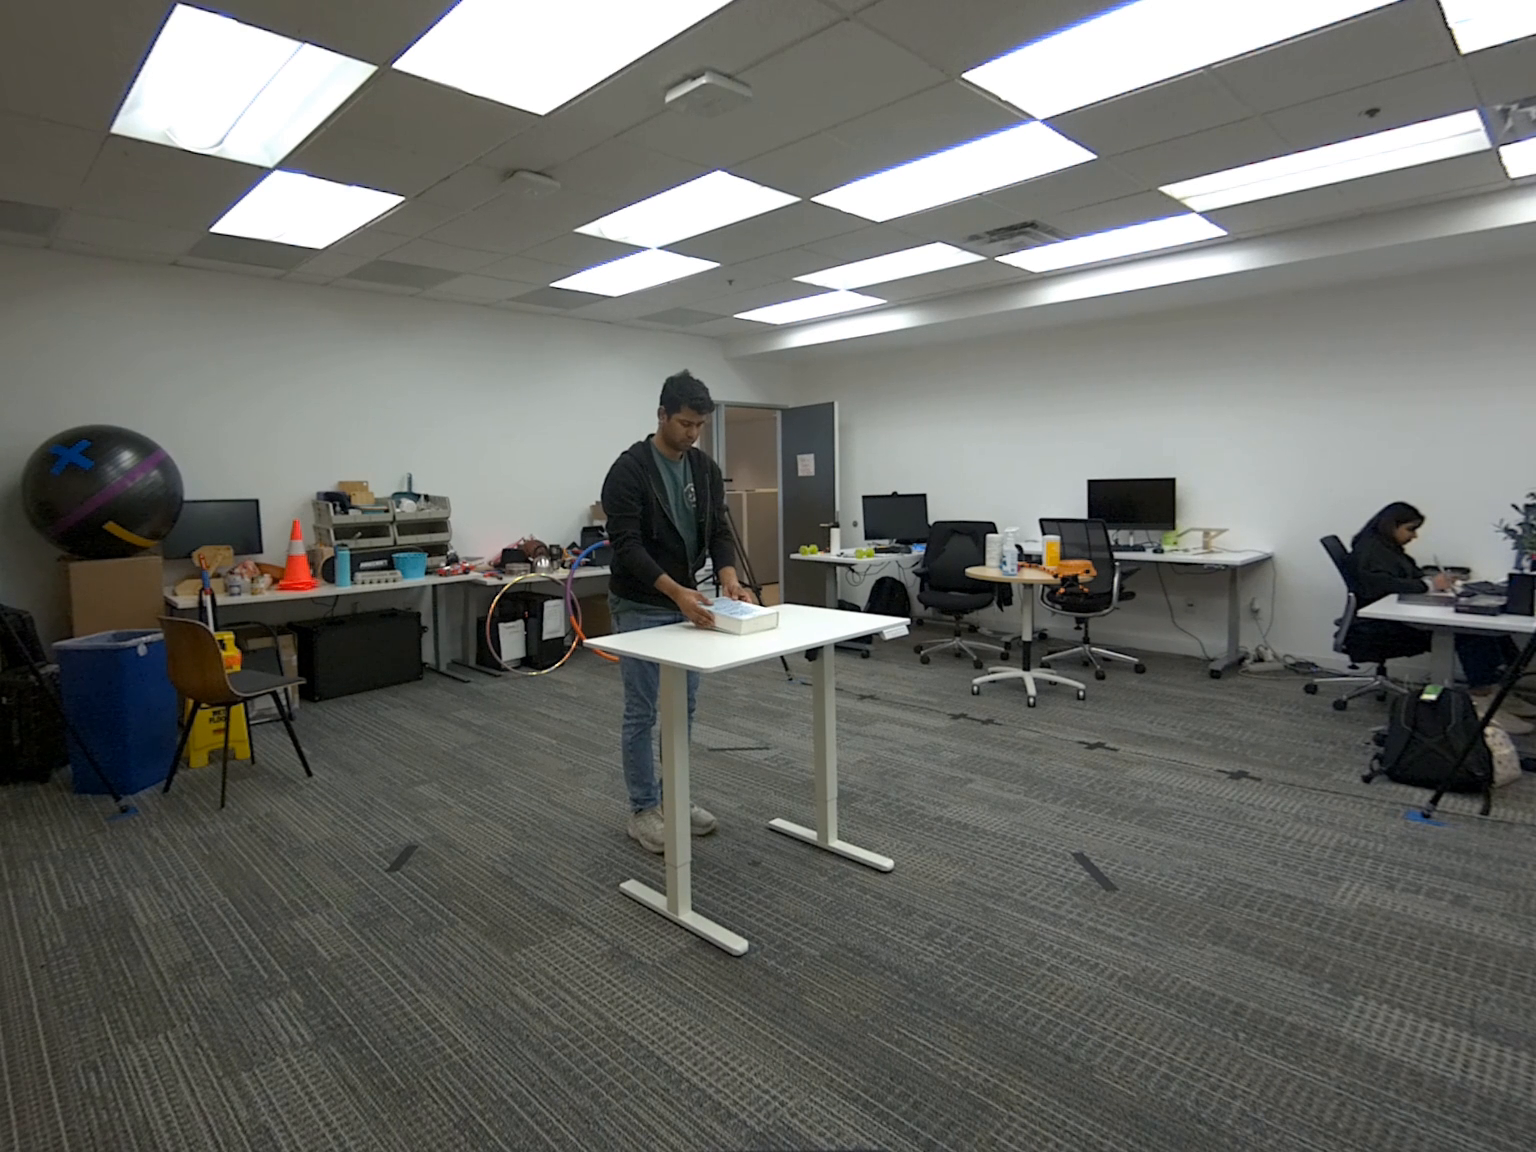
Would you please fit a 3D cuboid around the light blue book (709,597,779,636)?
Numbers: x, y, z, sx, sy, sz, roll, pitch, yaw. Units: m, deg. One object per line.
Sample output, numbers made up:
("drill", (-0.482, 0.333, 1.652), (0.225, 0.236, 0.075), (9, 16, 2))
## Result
("light blue book", (-0.106, 0.144, 2.942), (0.269, 0.058, 0.187), (9, 13, 38))
